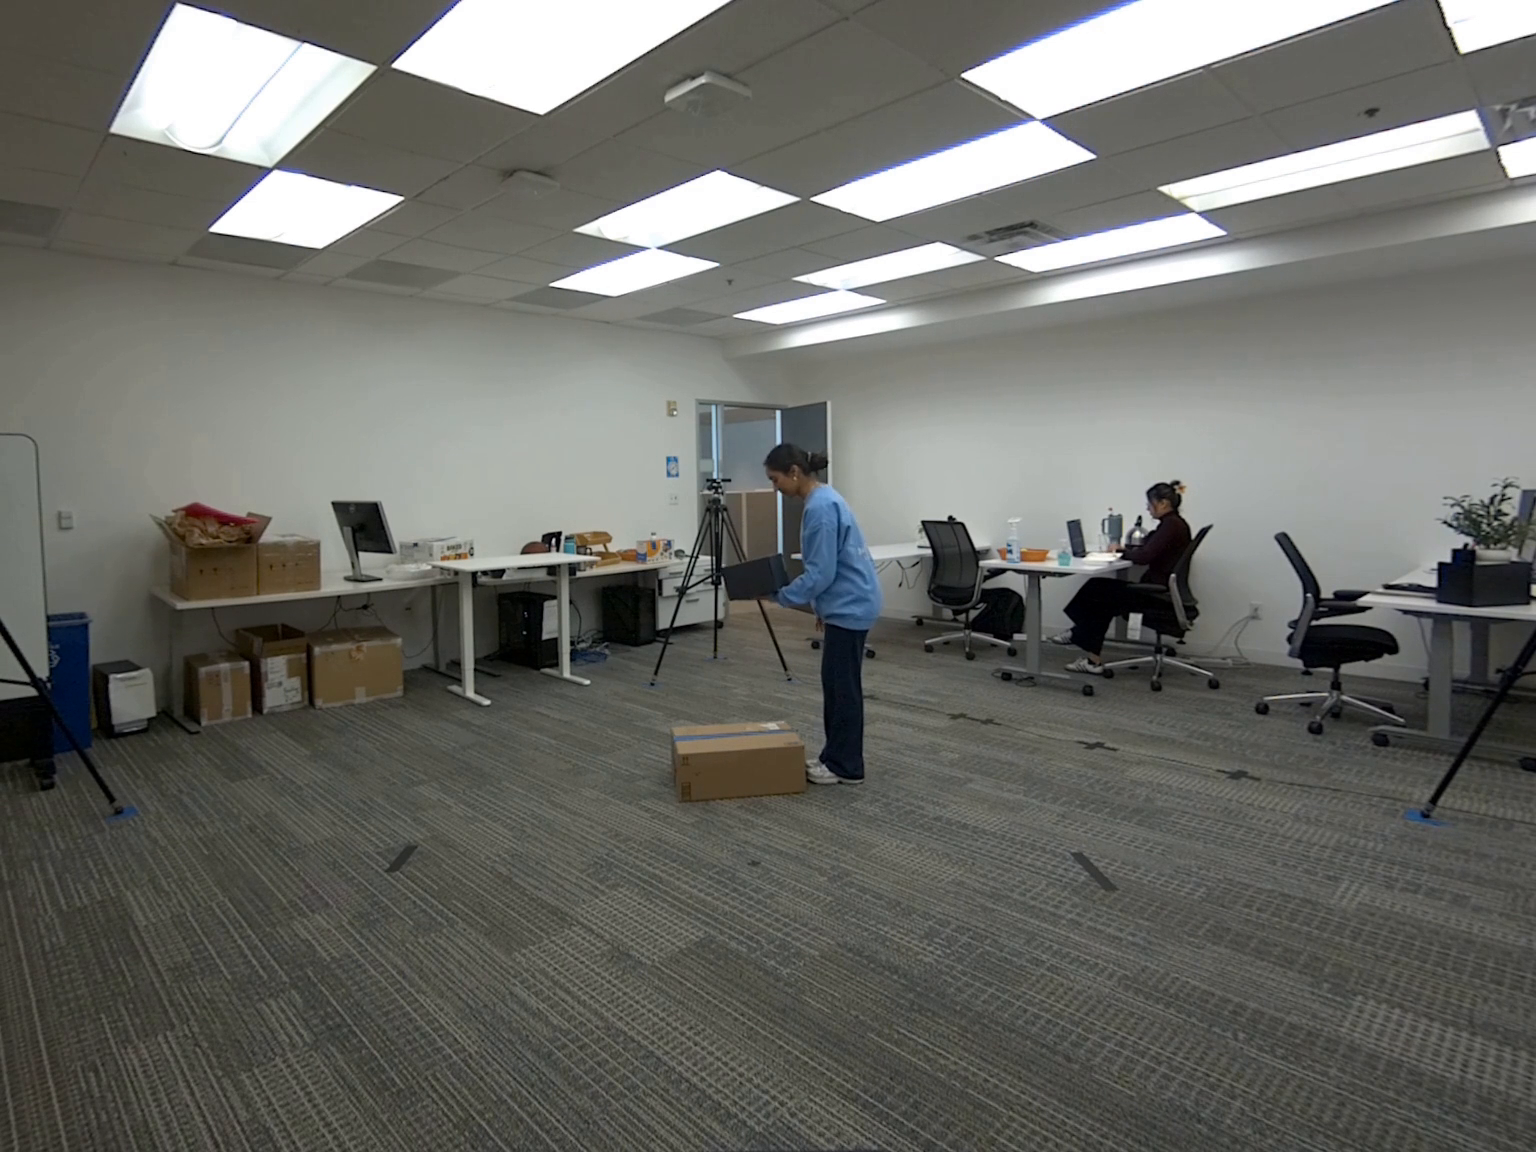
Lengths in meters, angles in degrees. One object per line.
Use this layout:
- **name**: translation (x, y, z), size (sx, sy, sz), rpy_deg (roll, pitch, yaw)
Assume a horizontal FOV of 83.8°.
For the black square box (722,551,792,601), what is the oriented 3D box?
- **black square box**: translation (-0.047, -0.003, 3.851), size (0.231, 0.156, 0.213), rpy_deg (-13, 0, 20)
